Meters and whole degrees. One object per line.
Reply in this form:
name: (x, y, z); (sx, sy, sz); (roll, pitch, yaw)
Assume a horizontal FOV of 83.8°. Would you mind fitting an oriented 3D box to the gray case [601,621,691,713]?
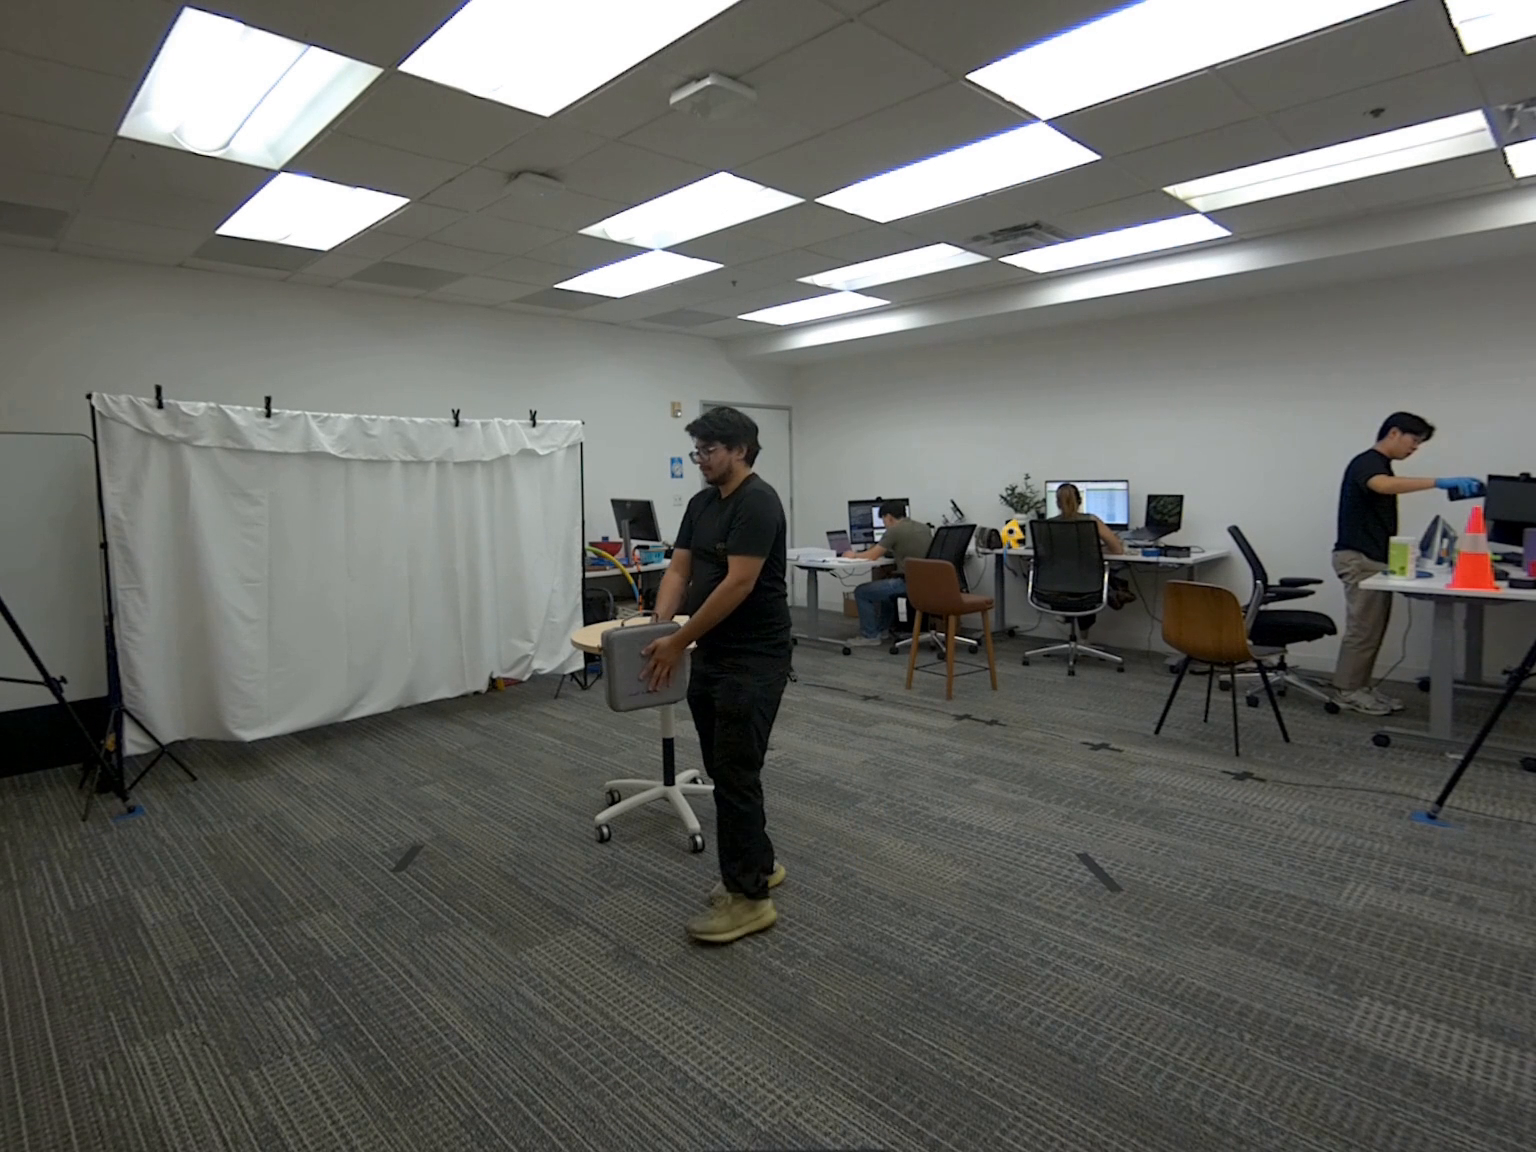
gray case: (-0.384, 0.275, 2.655); (0.251, 0.260, 0.107); (-5, 3, -27)
